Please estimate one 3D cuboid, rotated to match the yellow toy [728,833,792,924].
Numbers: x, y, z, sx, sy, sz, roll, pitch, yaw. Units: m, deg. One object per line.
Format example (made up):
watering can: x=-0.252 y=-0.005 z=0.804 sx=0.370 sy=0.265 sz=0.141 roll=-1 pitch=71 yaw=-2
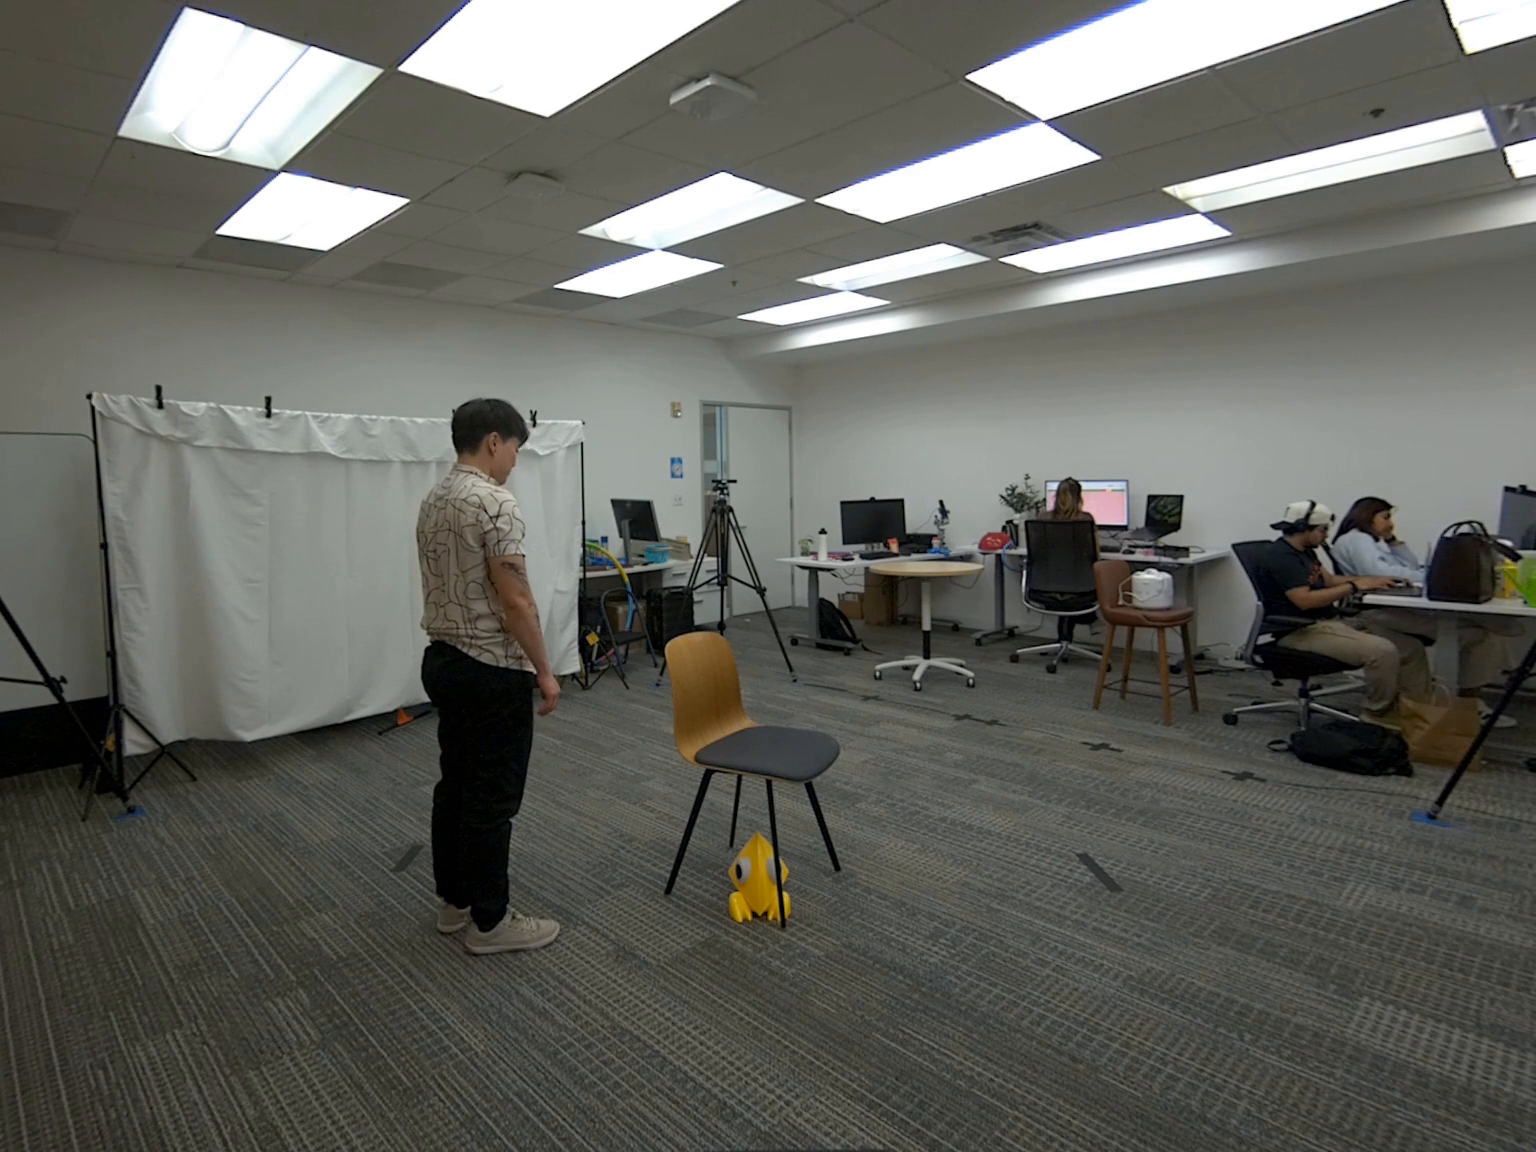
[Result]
yellow toy: x=-0.028 y=0.969 z=2.778 sx=0.205 sy=0.230 sz=0.193 roll=-2 pitch=3 yaw=0
